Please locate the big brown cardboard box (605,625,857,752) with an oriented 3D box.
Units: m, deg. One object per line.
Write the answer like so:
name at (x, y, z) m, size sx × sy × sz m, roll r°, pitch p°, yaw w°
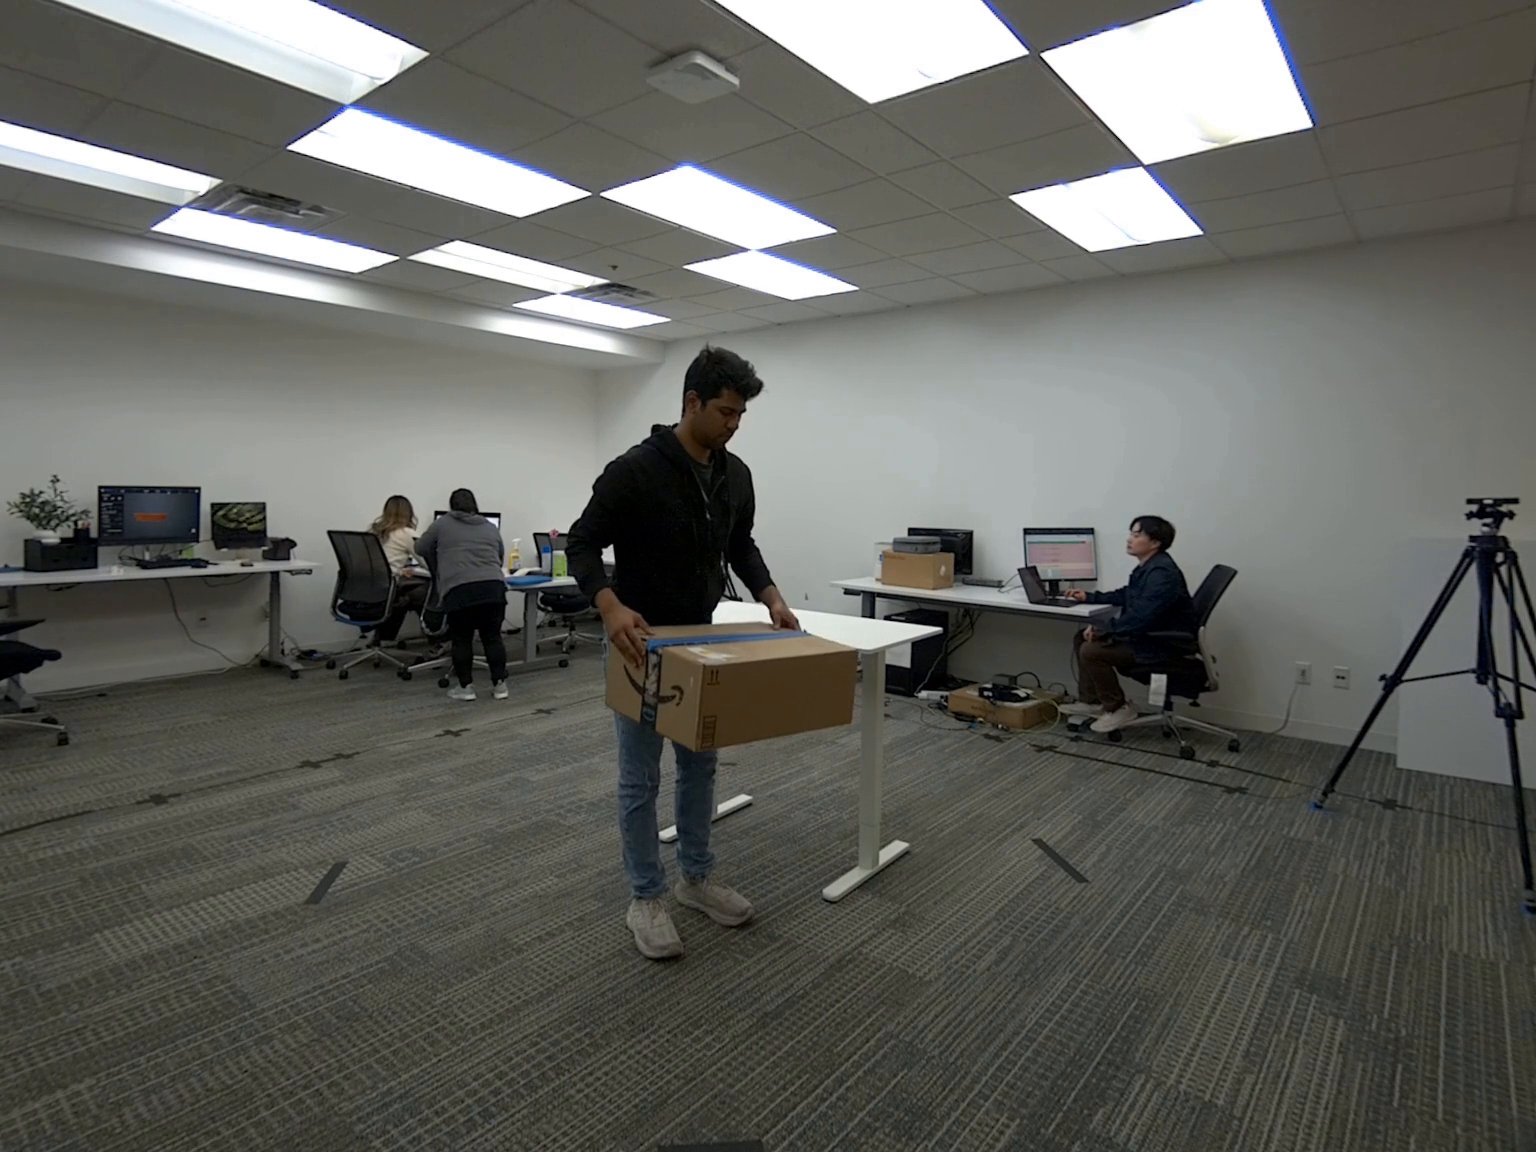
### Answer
big brown cardboard box at (-0.105, 0.285, 2.353) m, size 0.570 × 0.232 × 0.433 m, roll 0°, pitch 7°, yaw -42°
